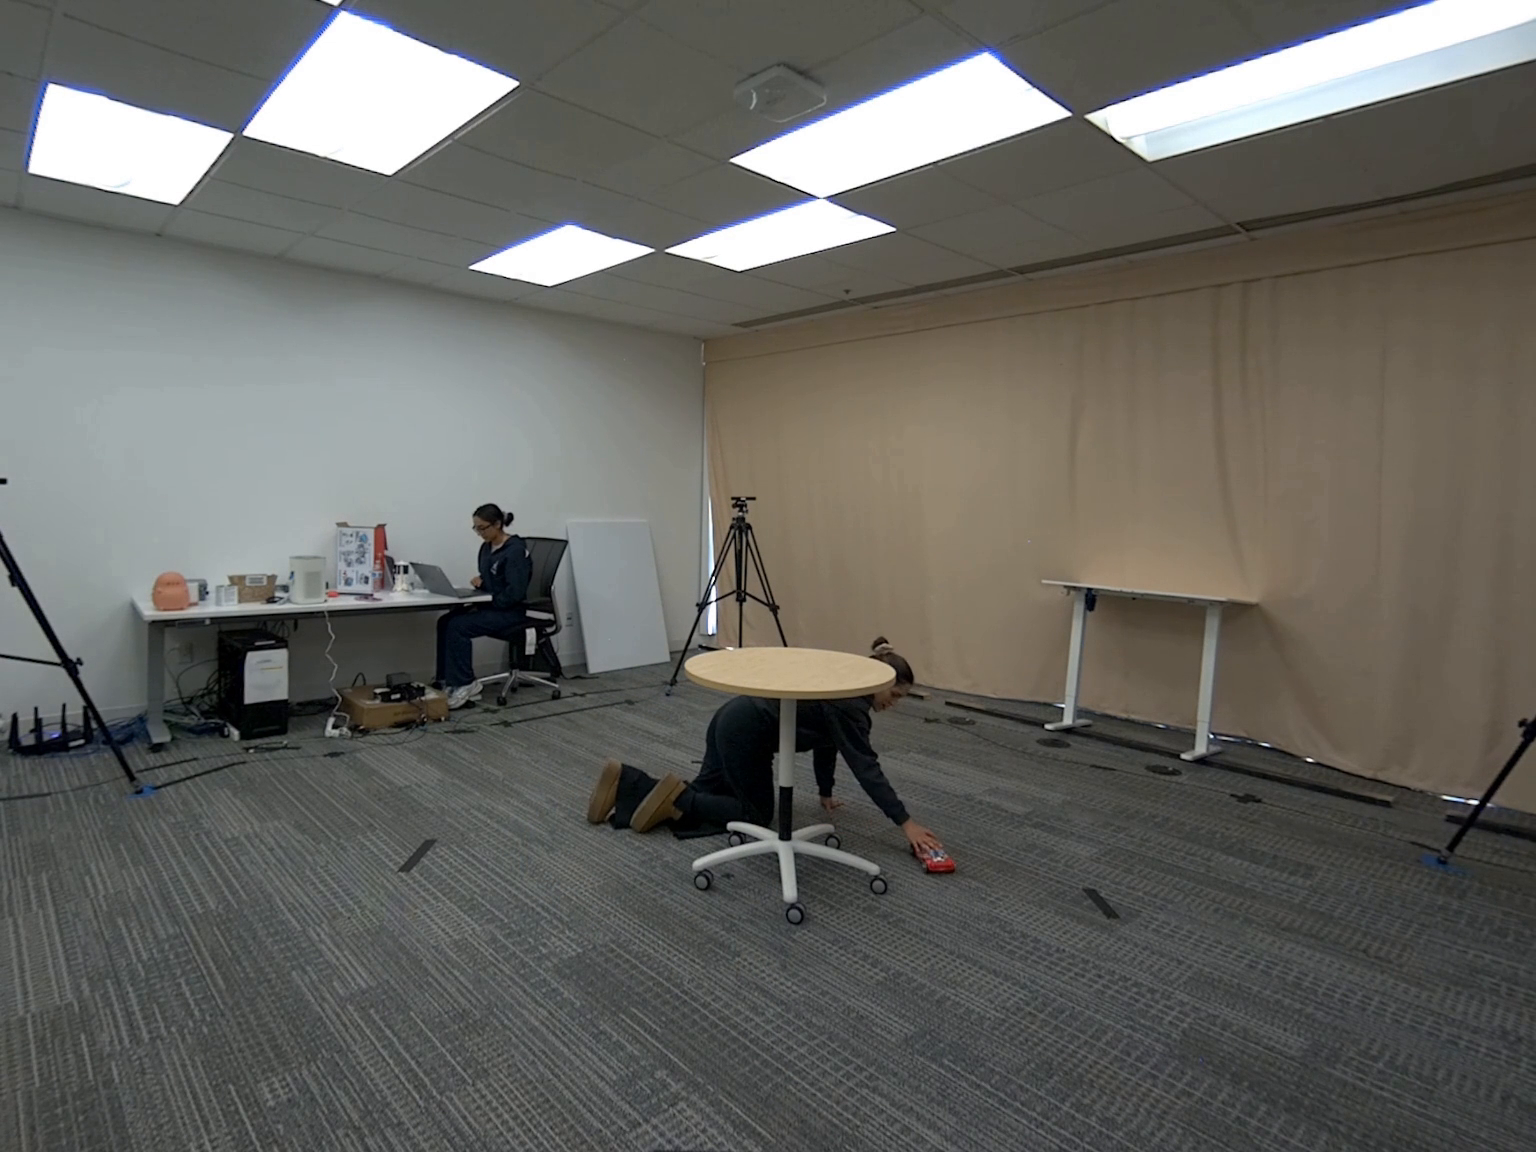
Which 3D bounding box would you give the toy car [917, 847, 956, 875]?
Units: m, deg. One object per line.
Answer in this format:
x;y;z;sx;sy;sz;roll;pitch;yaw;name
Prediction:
0.619;1.075;3.298;0.129;0.082;0.259;0;17;-9;toy car
